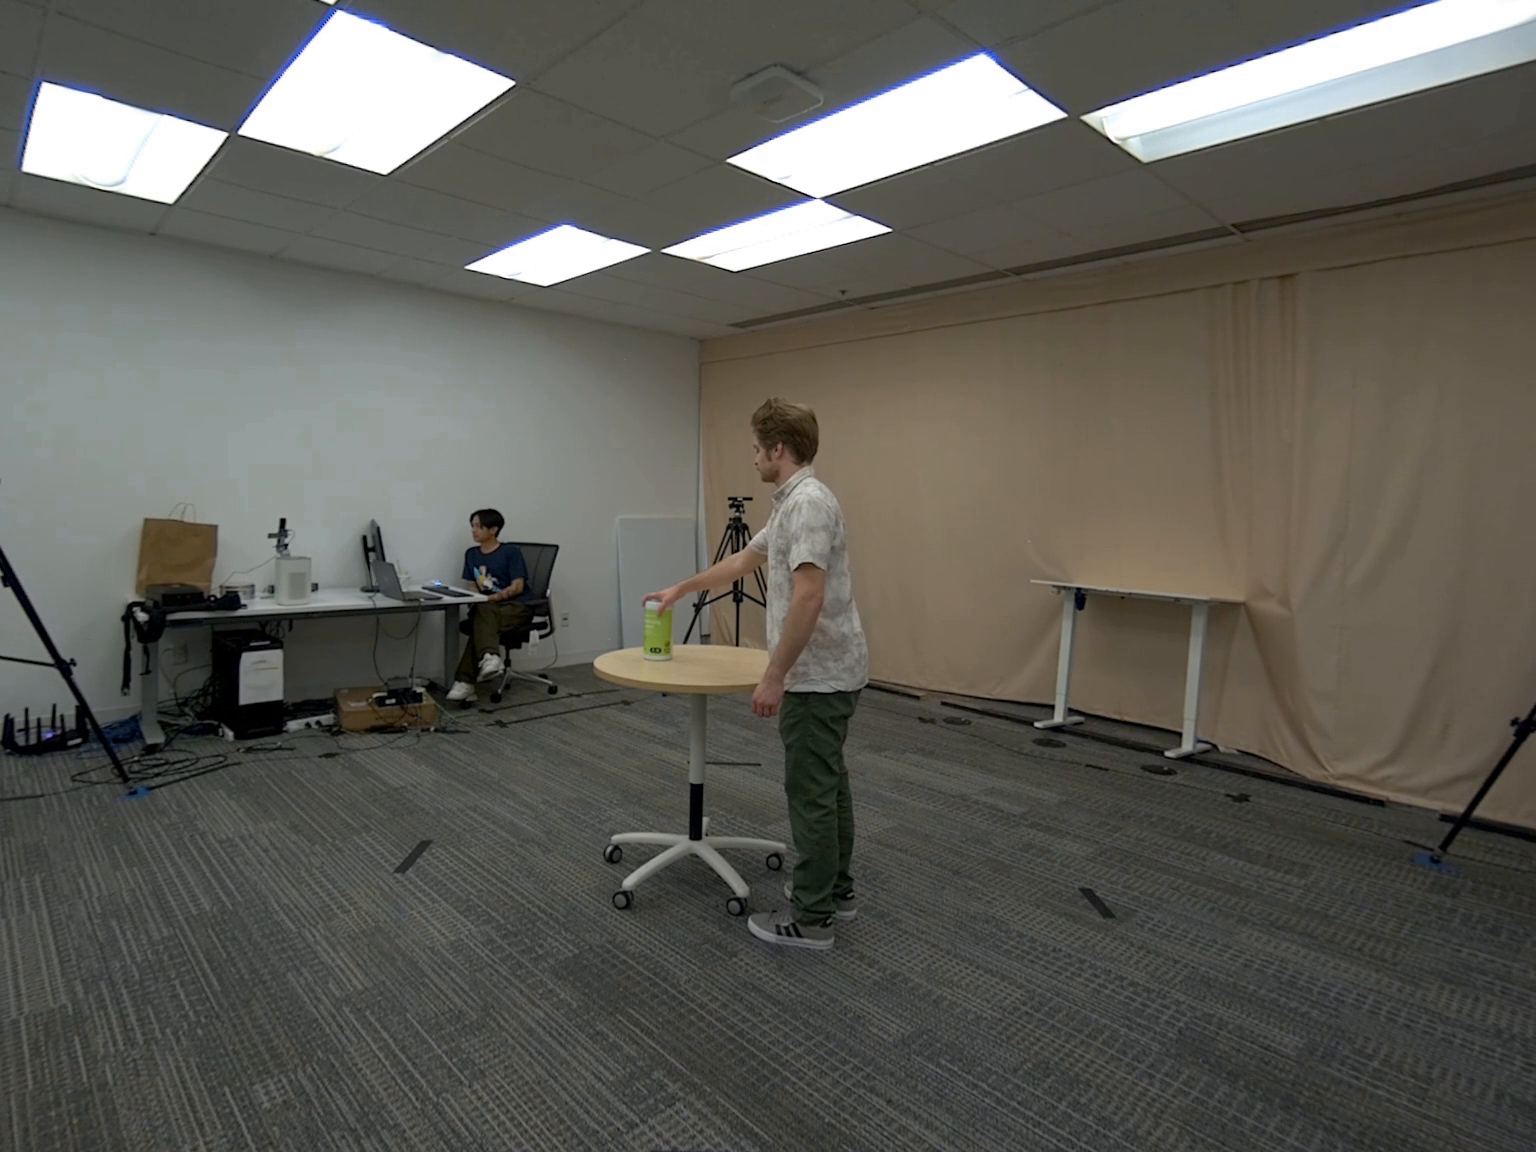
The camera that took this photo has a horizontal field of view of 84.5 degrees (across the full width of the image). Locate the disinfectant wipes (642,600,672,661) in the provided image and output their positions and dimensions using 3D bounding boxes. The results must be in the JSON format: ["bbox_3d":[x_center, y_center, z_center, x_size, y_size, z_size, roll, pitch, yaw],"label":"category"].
[{"bbox_3d":[-0.410,0.199,3.112,0.118,0.217,0.118,3,3,-2],"label":"disinfectant wipes"}]
